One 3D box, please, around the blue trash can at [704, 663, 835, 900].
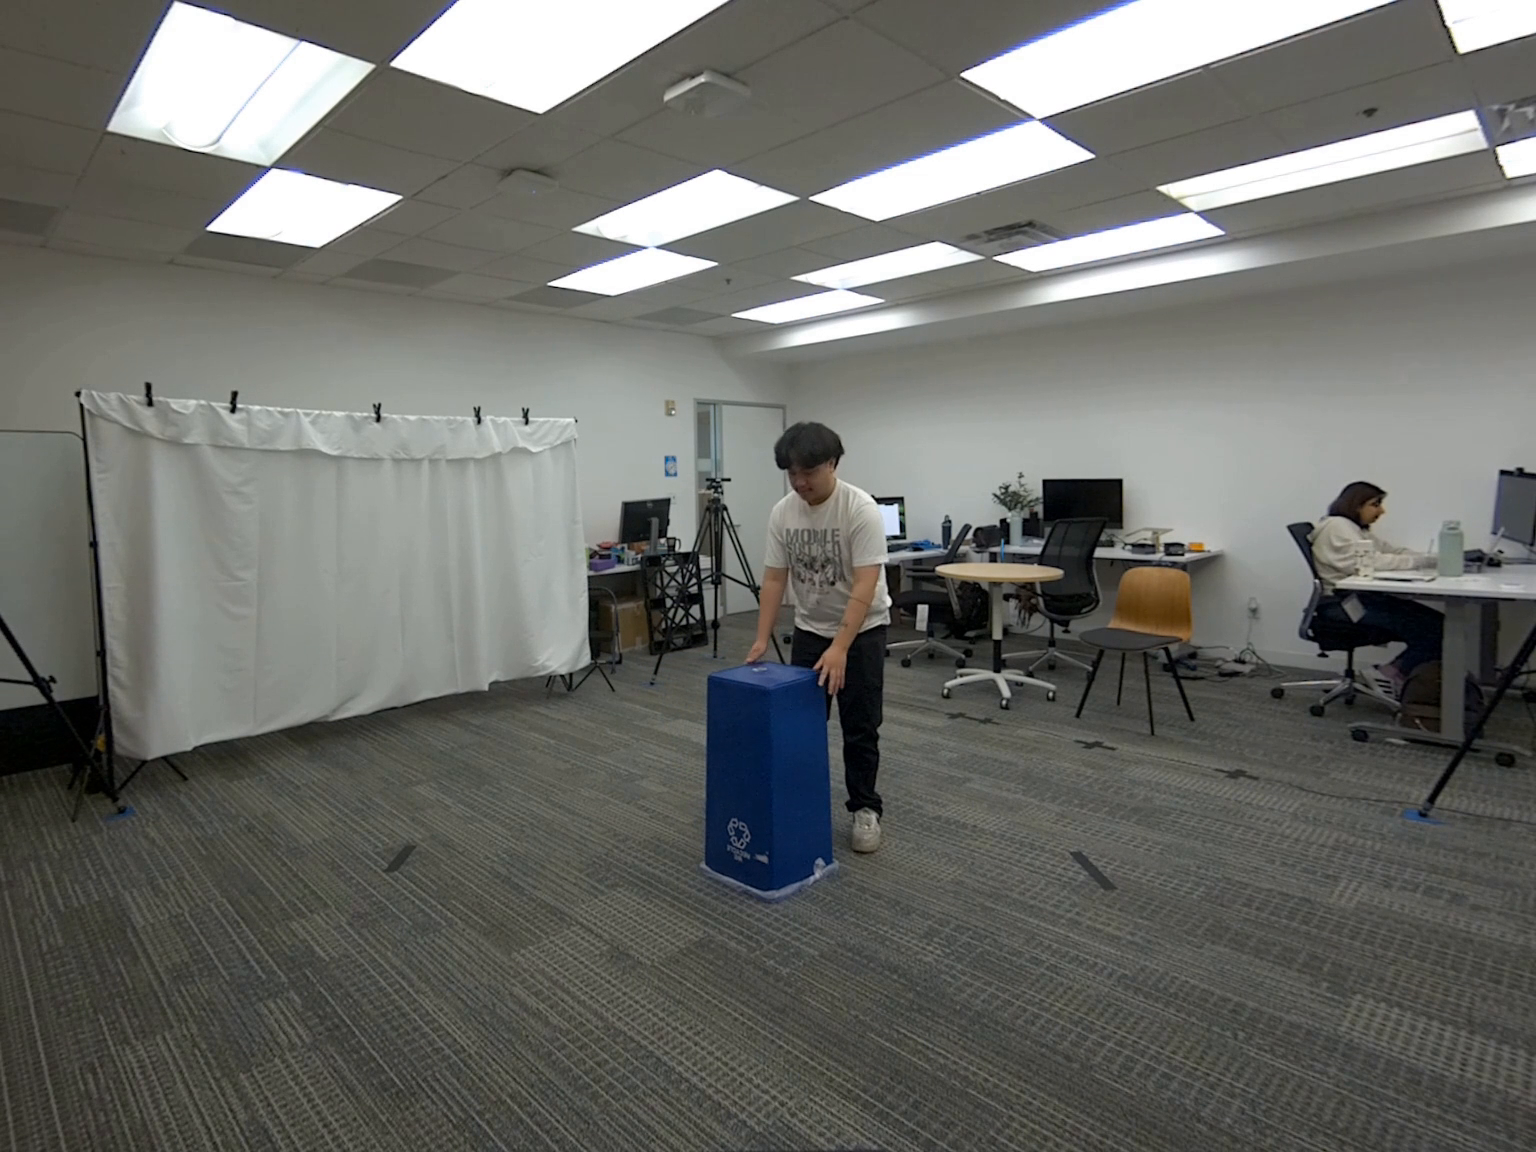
[{"bbox_3d":[-0.004,0.695,3.035,0.385,0.712,0.368,2,4,44],"label":"blue trash can"}]
